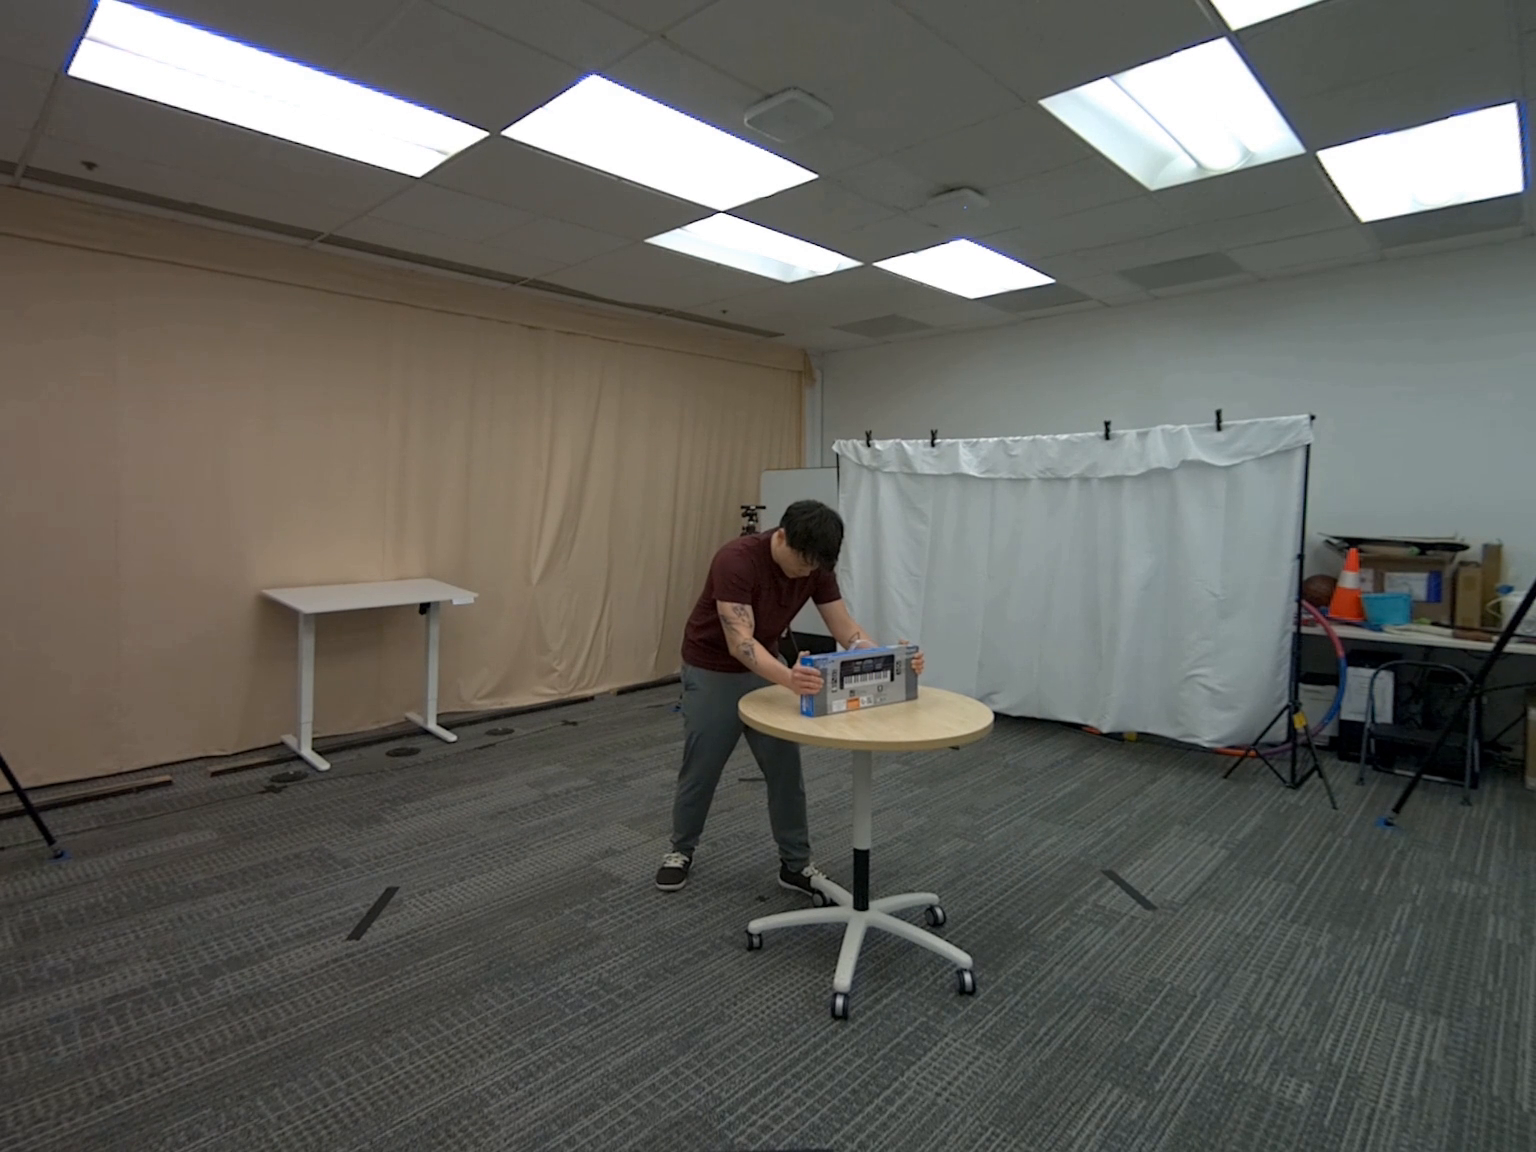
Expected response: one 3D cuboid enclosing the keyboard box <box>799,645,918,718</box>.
[{"bbox_3d":[0.298,0.323,2.570,0.424,0.175,0.061,-2,7,-34],"label":"keyboard box"}]
